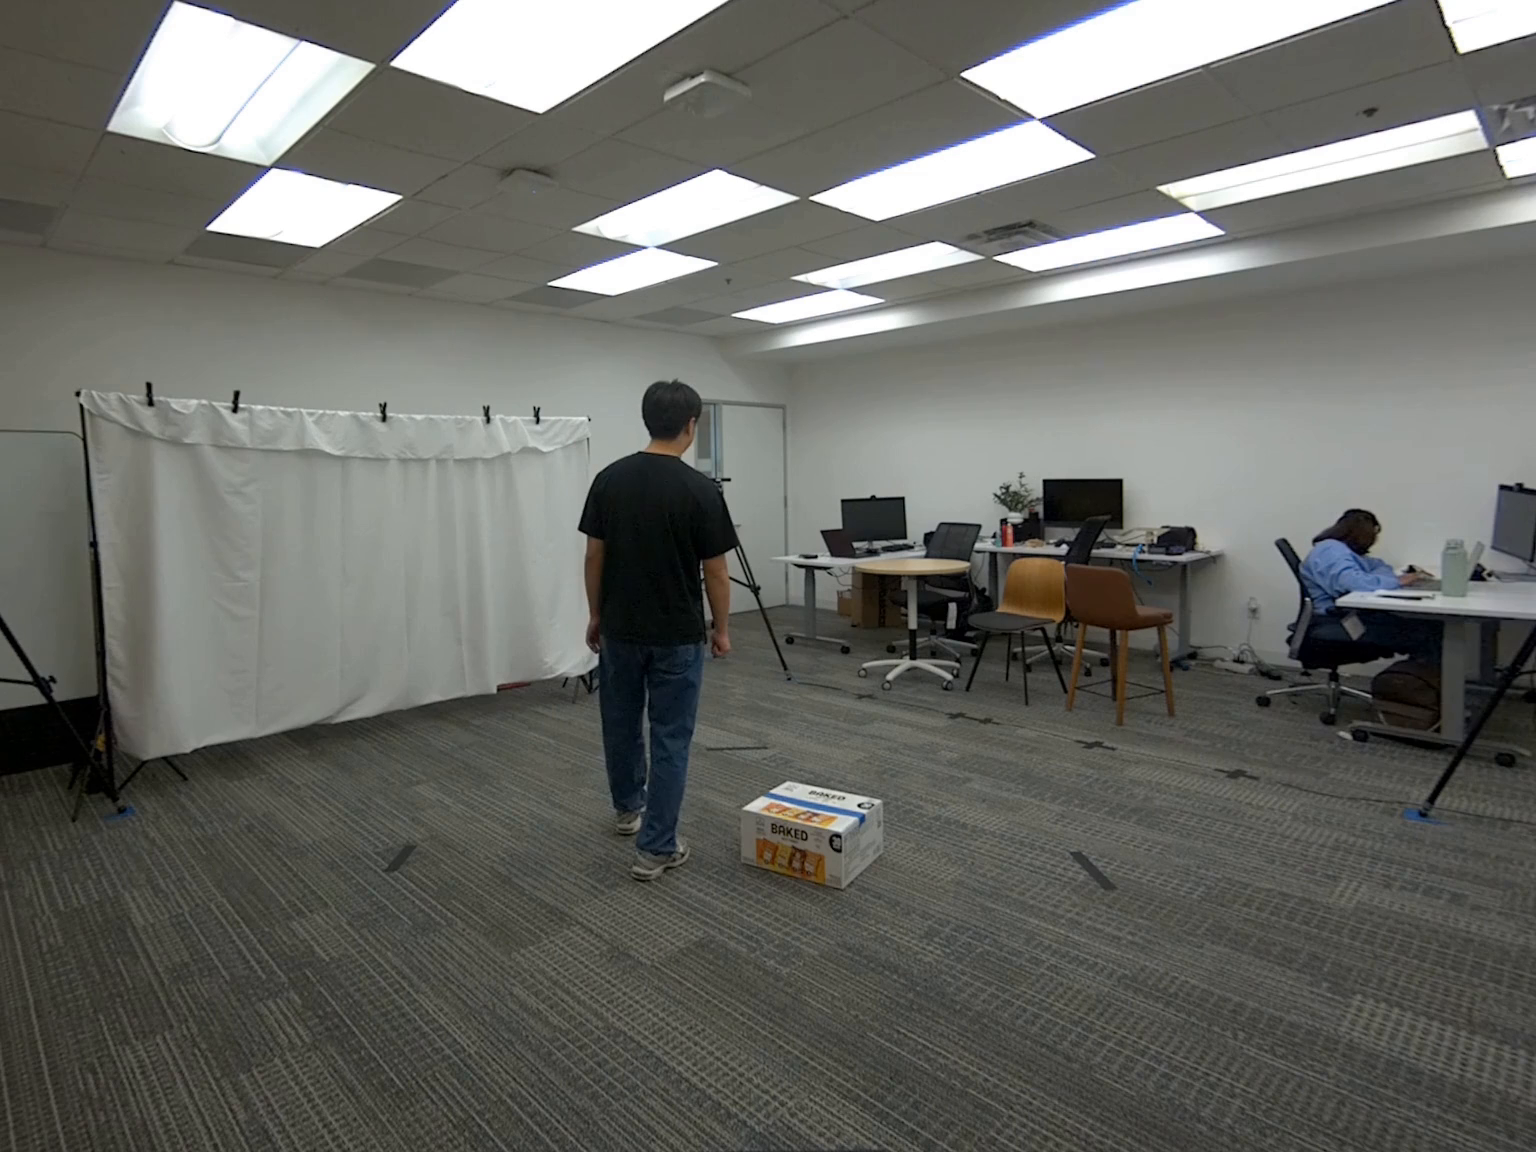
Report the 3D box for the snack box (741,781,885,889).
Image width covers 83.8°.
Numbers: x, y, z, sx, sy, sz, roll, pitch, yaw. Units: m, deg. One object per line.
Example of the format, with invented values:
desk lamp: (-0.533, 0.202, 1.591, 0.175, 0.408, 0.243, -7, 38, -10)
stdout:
snack box: (0.166, 0.931, 3.120, 0.416, 0.205, 0.332, 2, 7, 32)
